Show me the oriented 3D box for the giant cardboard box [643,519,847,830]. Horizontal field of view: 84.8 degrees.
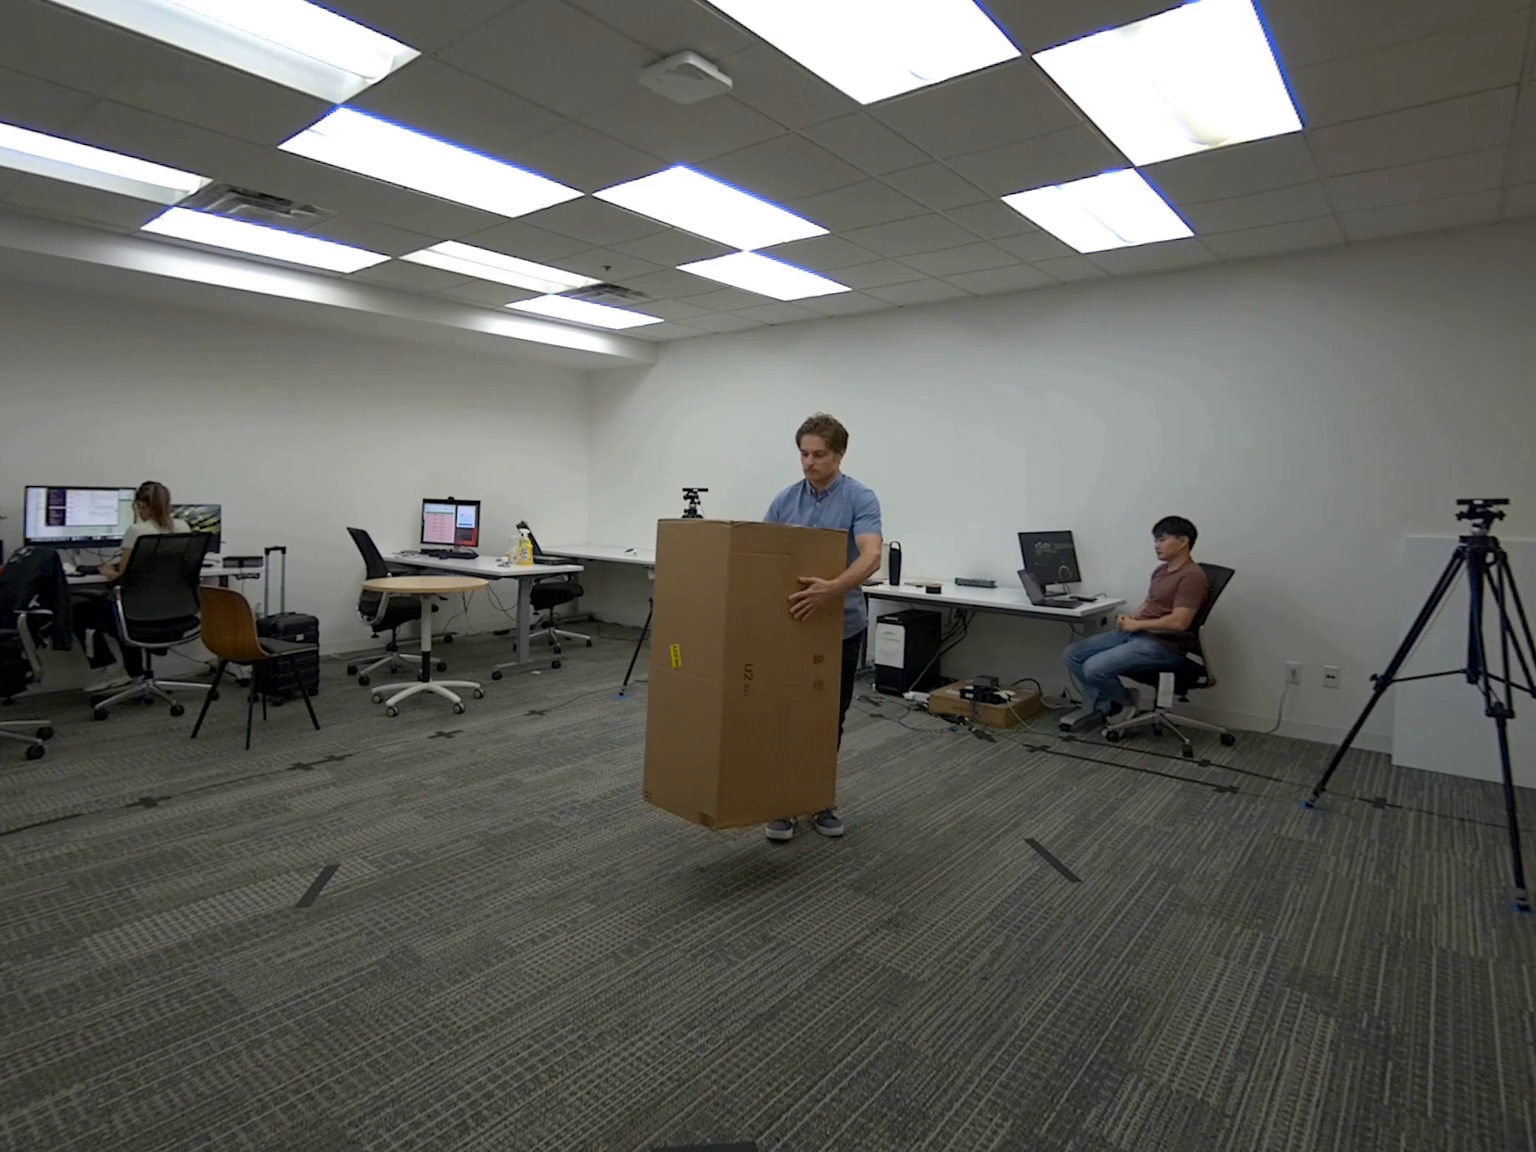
[{"bbox_3d":[-0.089,0.324,3.106,0.565,1.028,0.461,3,-1,-40],"label":"giant cardboard box"}]
